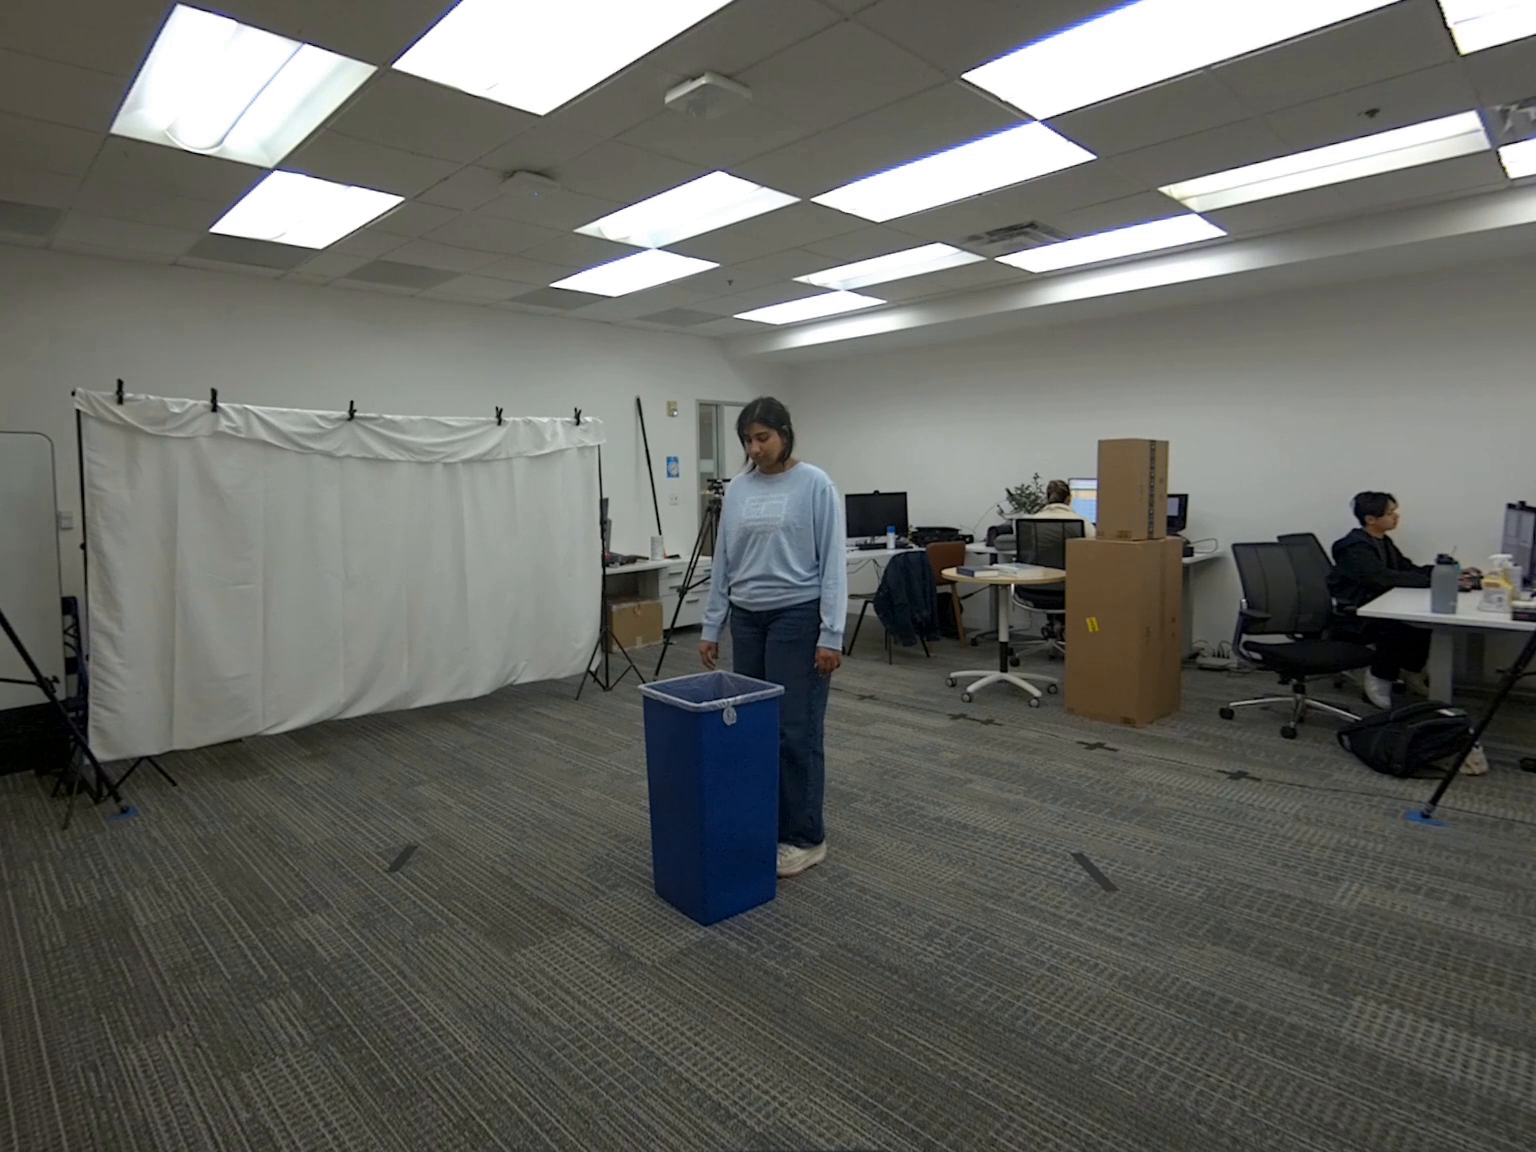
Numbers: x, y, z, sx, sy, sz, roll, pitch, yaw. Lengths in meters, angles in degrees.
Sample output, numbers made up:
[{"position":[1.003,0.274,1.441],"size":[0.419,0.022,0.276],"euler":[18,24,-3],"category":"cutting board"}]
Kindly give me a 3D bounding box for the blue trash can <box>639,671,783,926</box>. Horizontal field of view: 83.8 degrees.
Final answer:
[{"position":[-0.190,0.720,2.857],"size":[0.368,0.711,0.385],"euler":[-4,5,-40],"category":"blue trash can"}]
